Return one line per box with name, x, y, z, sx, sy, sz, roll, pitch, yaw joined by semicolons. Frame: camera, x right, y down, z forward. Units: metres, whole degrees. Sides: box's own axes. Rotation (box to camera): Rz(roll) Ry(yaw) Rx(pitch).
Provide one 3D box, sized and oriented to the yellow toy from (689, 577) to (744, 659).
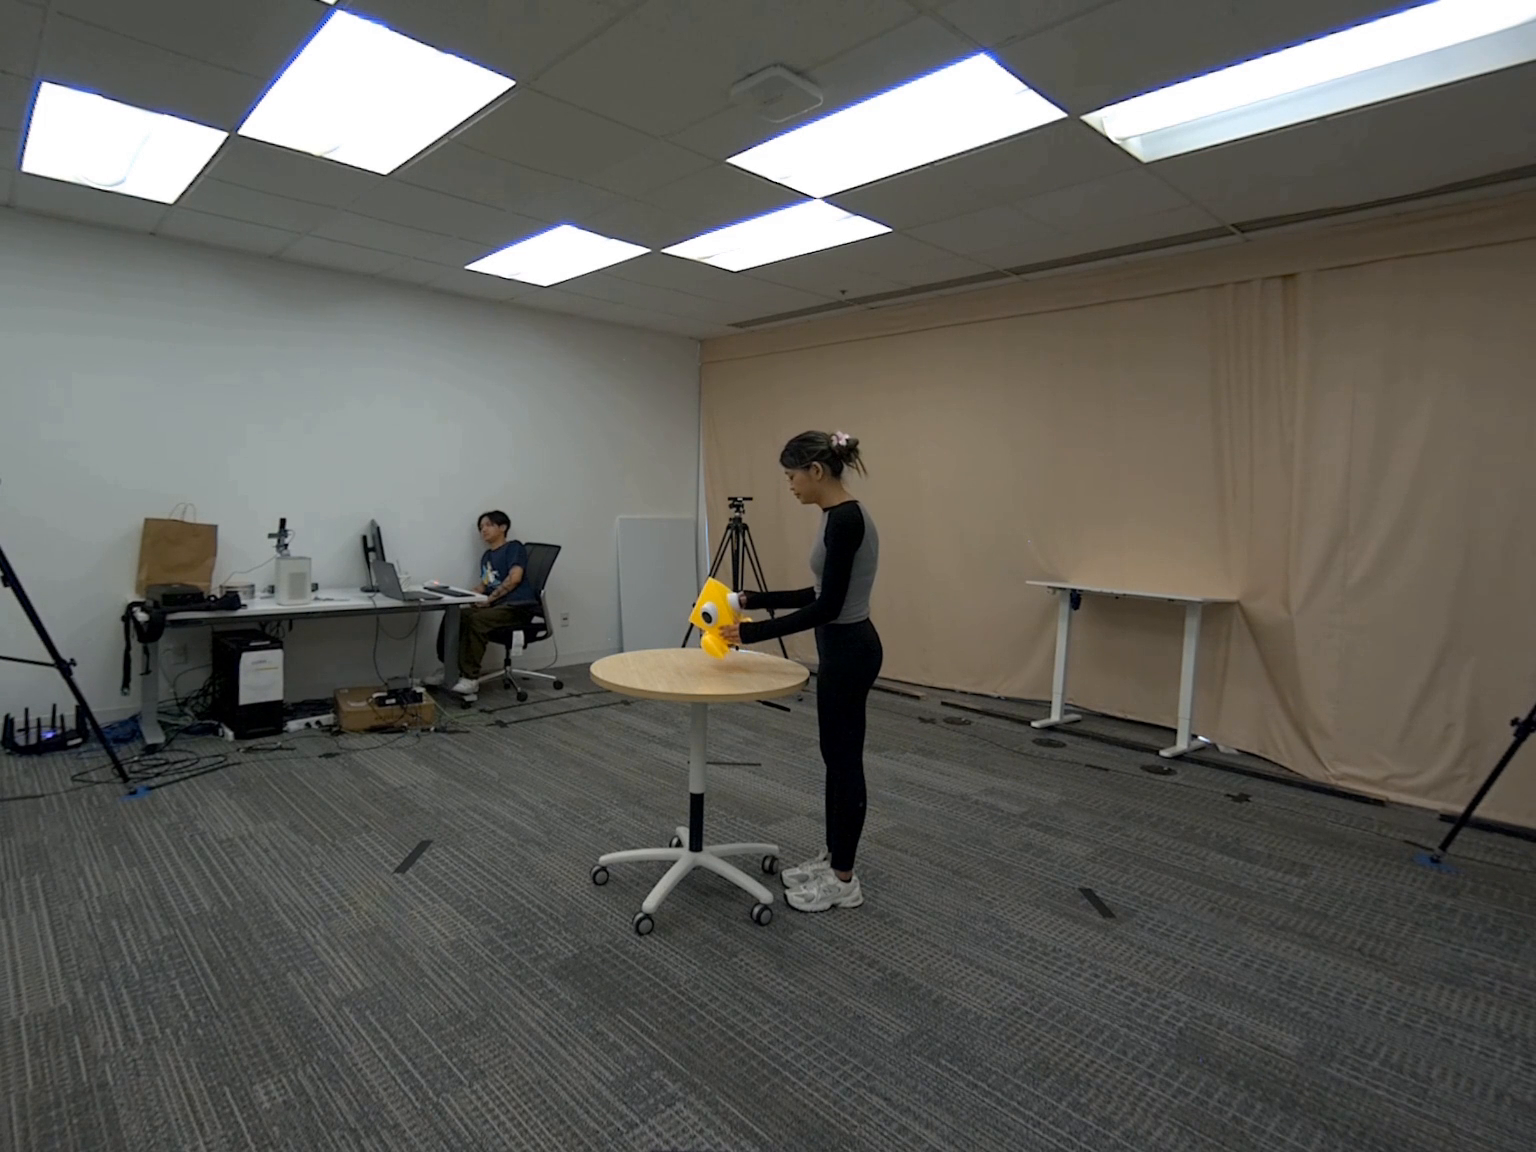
yellow toy;-0.158;0.129;2.923;0.203;0.225;0.199;-23;33;-17
